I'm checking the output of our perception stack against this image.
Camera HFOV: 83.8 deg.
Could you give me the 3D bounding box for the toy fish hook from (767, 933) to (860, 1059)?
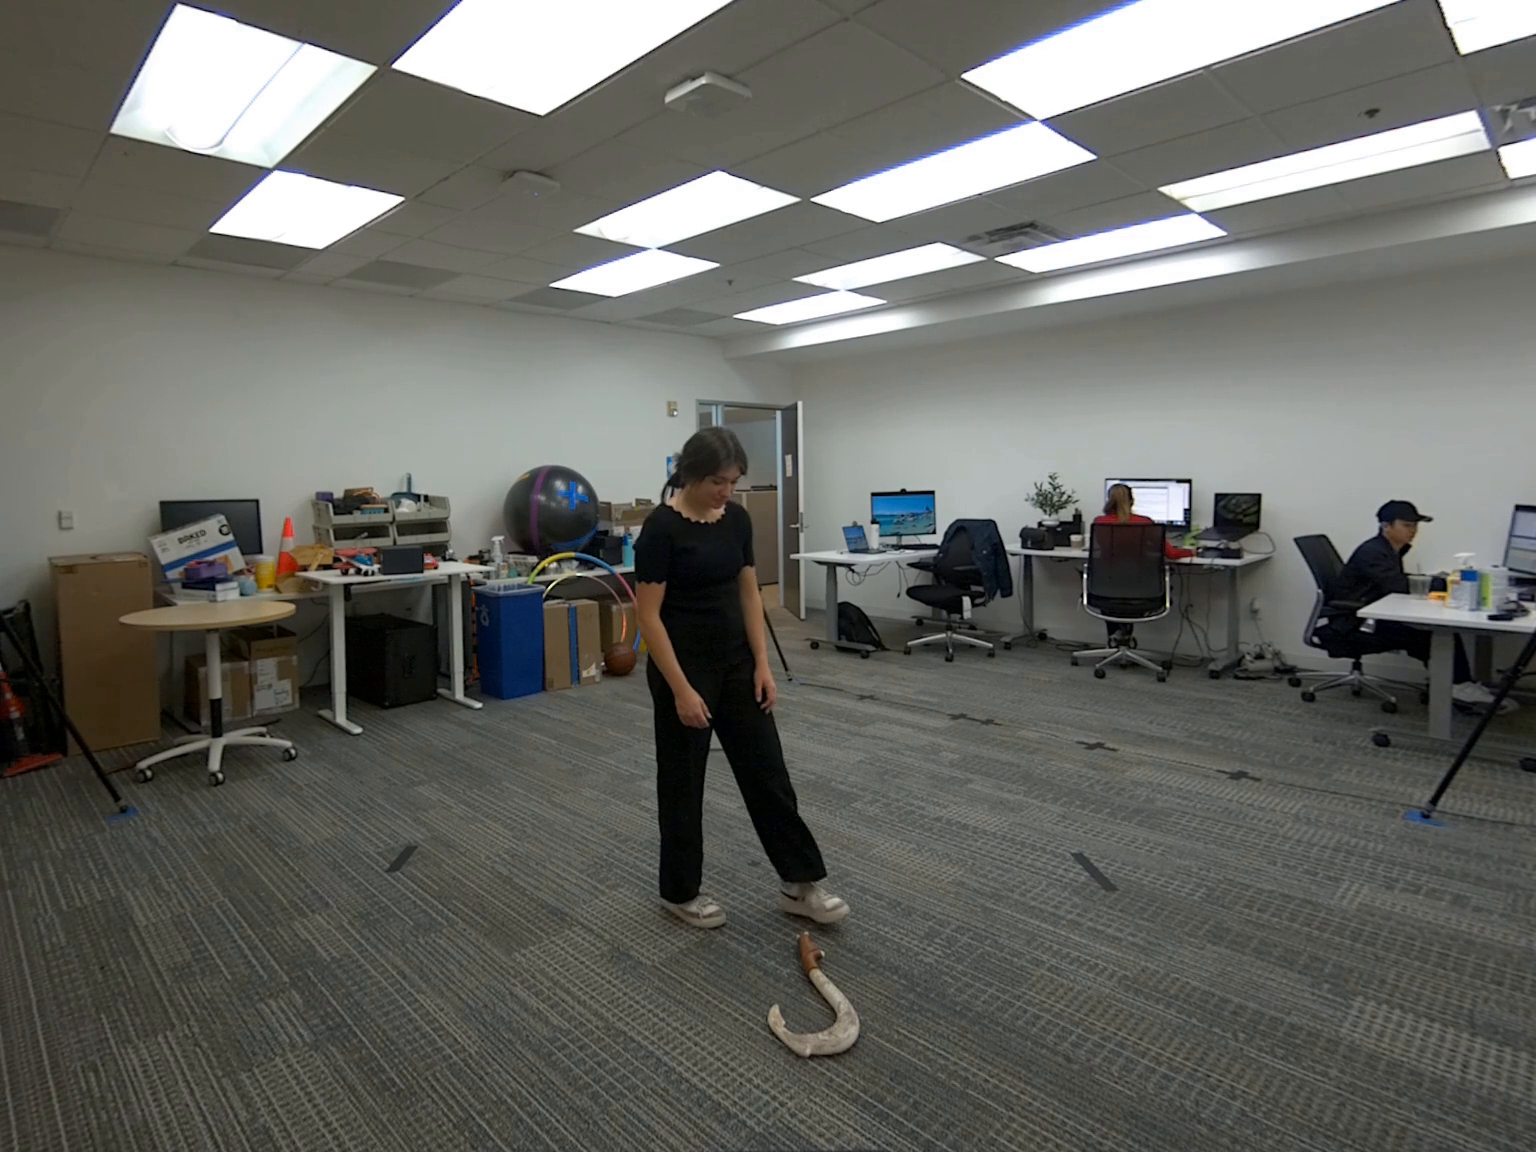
[{"bbox_3d":[0.096,1.118,2.301,0.223,0.048,0.512,-1,6,-9],"label":"toy fish hook"}]
